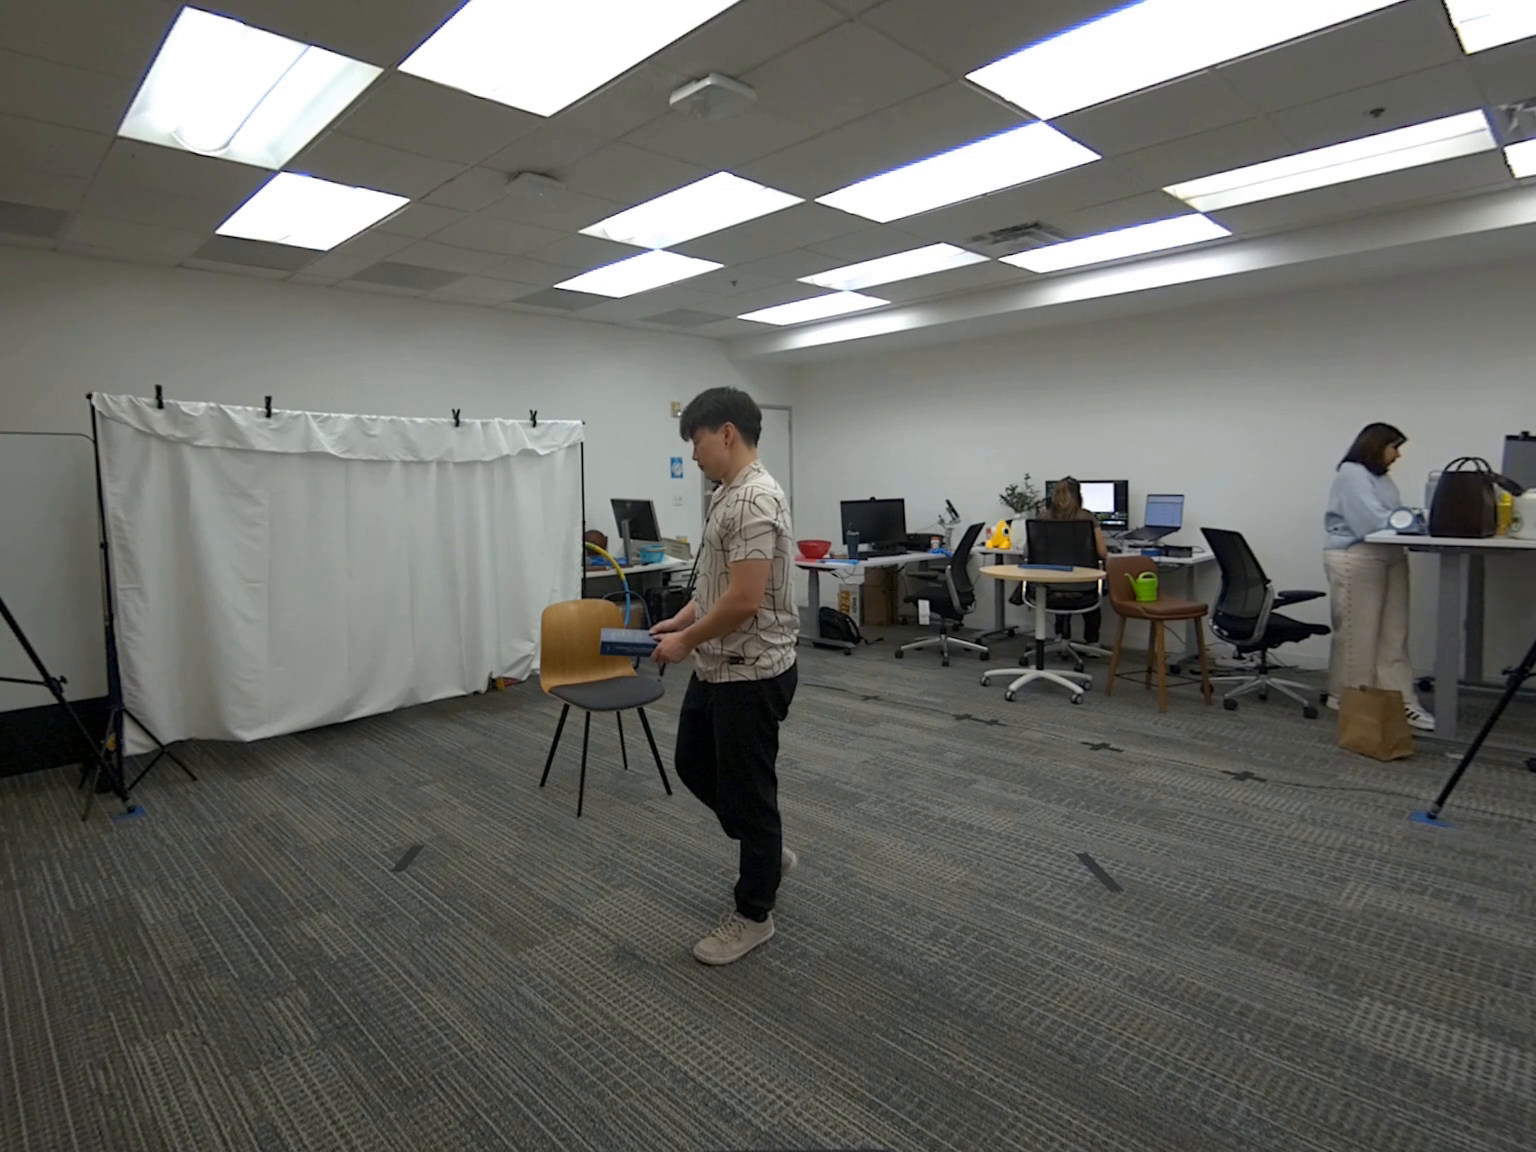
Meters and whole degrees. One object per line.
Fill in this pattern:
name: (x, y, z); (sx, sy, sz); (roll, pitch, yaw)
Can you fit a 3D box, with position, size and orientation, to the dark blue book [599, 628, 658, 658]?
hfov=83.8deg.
dark blue book: (-0.395, 0.196, 2.525); (0.245, 0.045, 0.164); (4, 7, 1)
